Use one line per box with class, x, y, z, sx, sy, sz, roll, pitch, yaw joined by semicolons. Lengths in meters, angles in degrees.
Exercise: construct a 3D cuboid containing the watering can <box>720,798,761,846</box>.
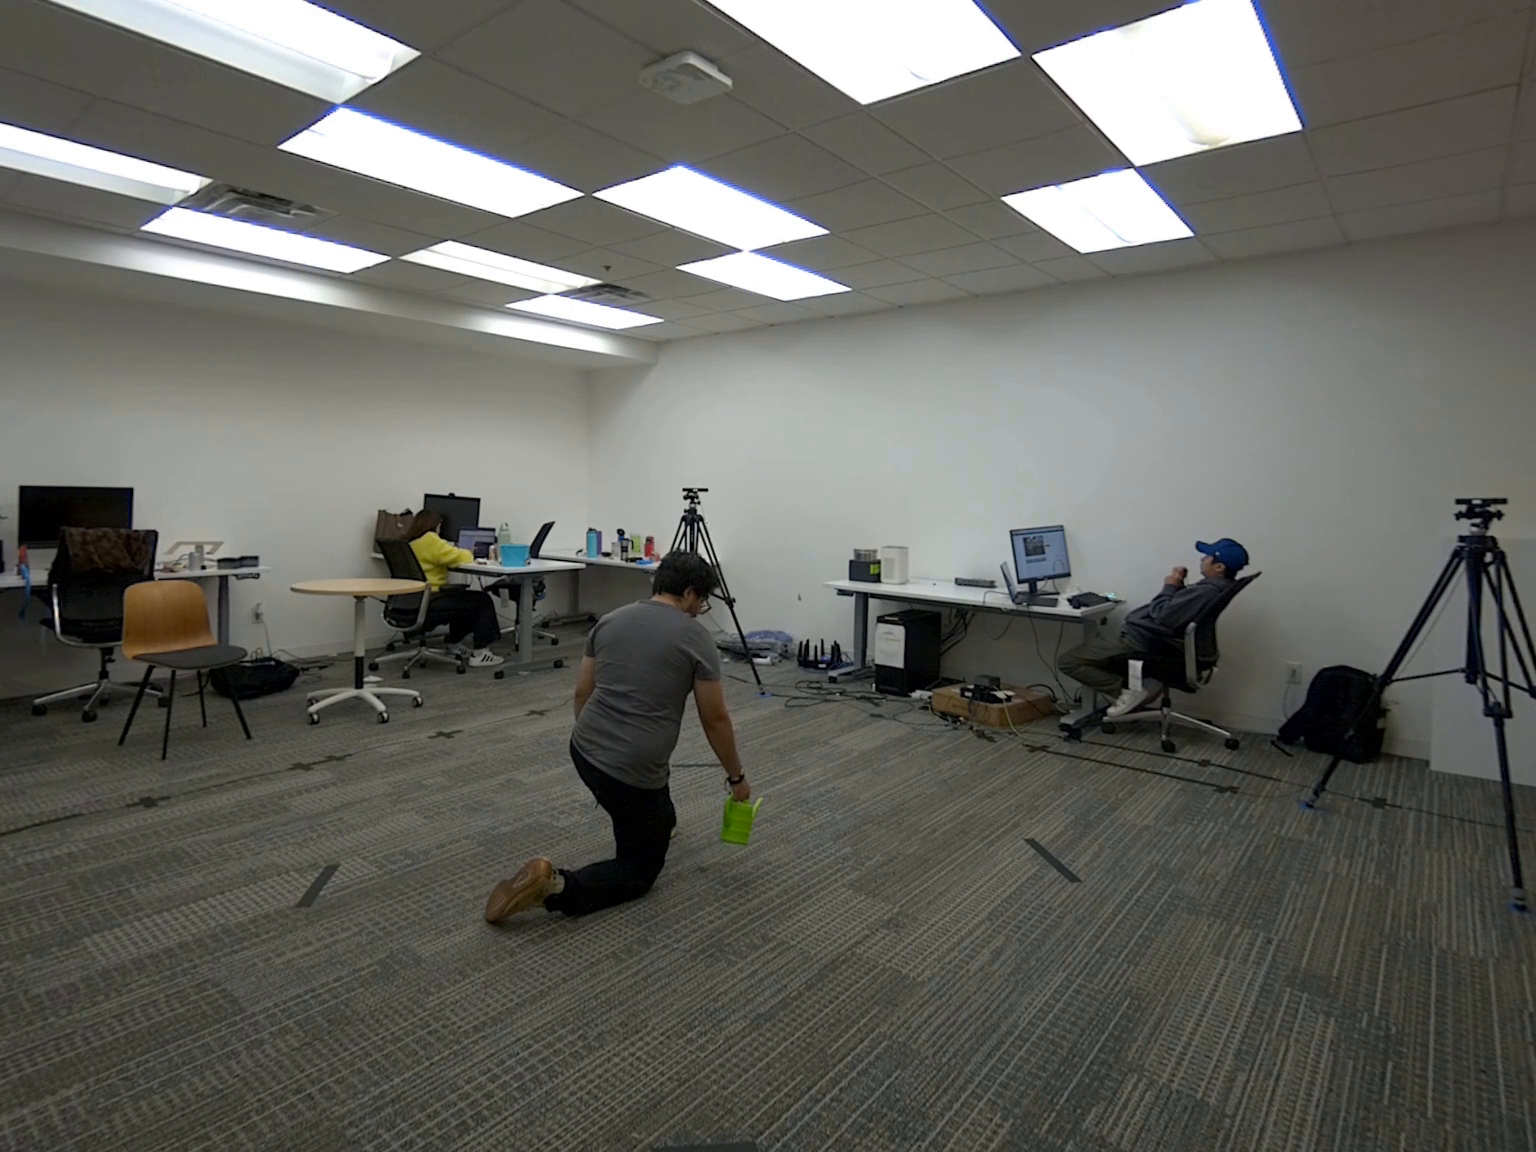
watering can;-0.097;0.896;3.105;0.101;0.179;0.267;-6;-23;41
